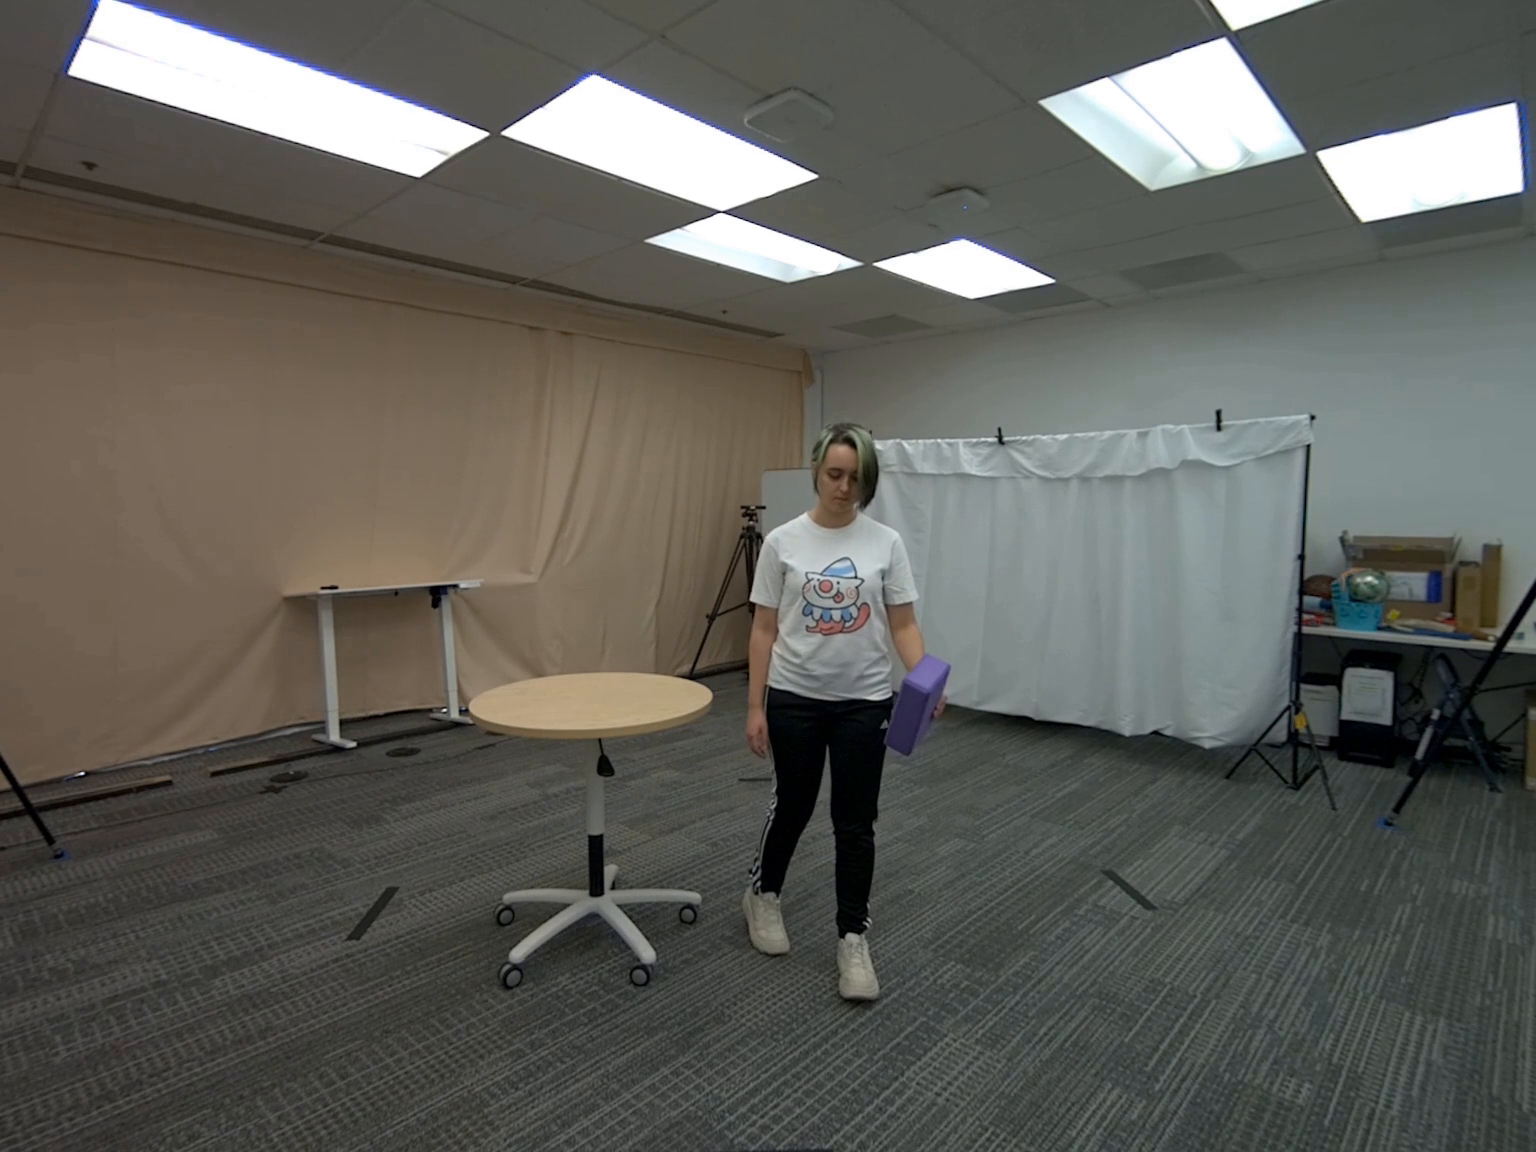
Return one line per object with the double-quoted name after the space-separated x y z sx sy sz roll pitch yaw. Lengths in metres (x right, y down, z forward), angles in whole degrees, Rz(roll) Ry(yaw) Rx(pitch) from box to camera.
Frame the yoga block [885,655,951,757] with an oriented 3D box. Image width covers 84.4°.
0.374 0.333 2.177 0.079 0.226 0.146 24 35 25 "yoga block"
